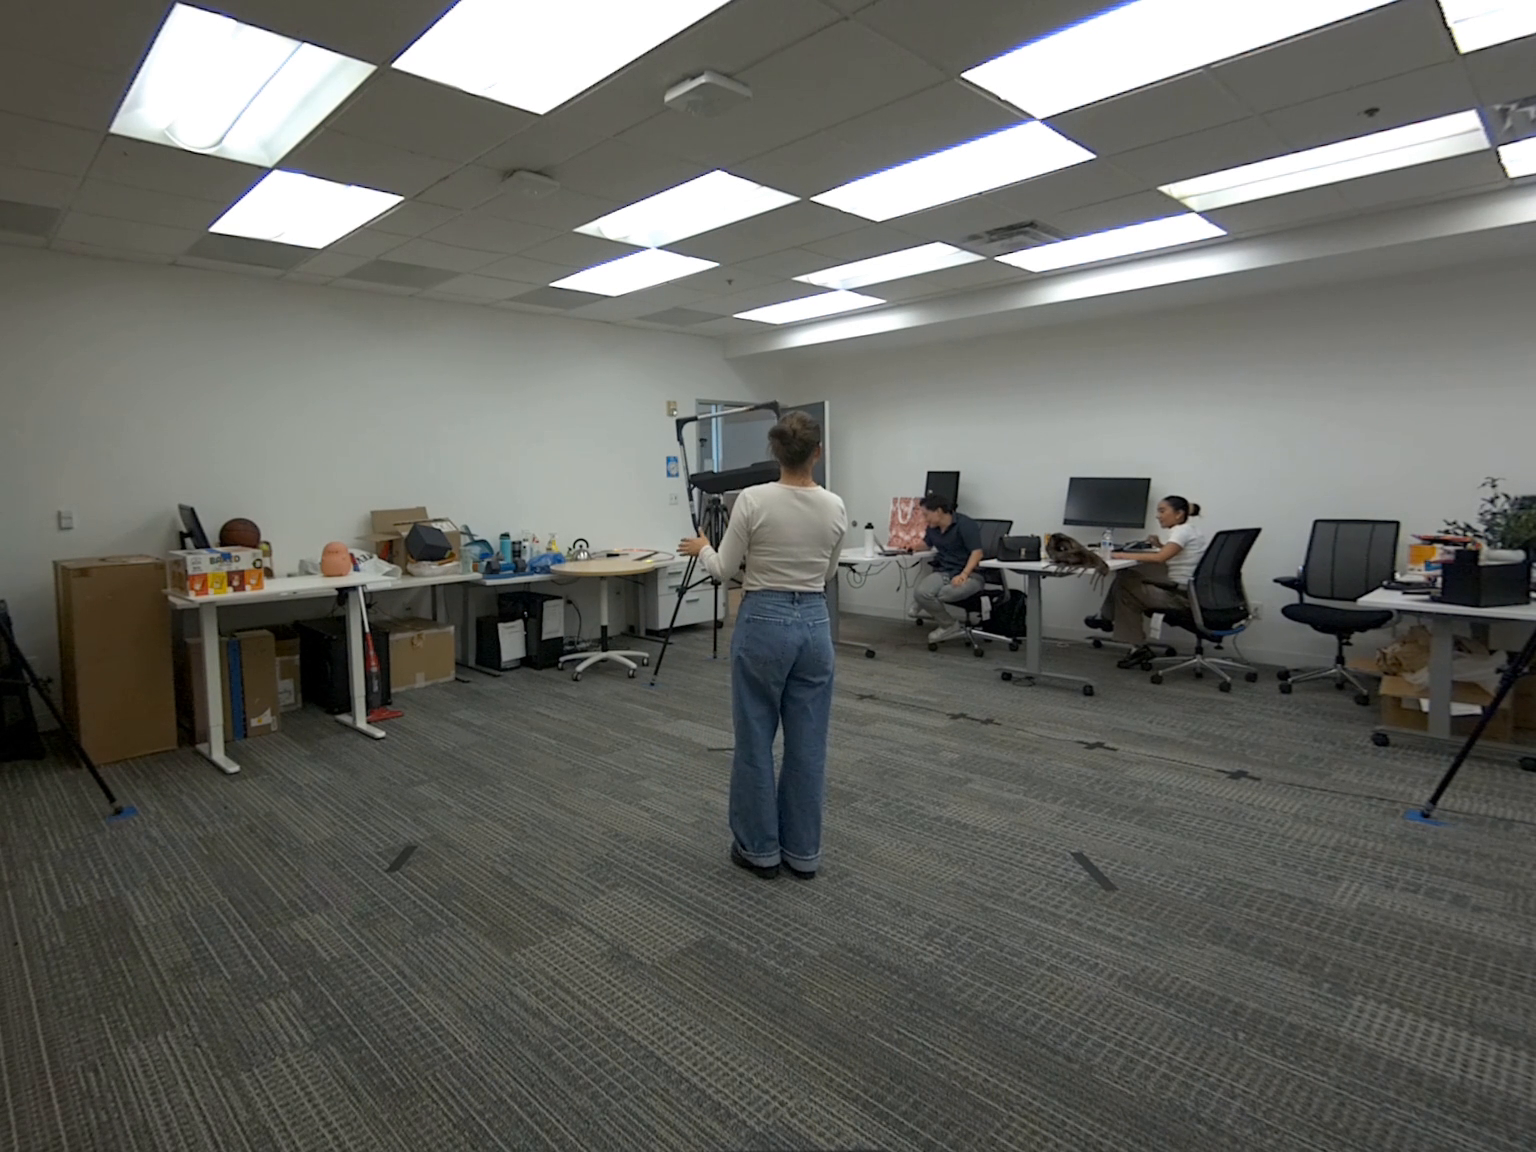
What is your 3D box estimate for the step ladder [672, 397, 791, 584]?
[{"bbox_3d":[-0.089,-0.320,3.358,0.436,0.613,0.341,-9,-11,16],"label":"step ladder"}]
